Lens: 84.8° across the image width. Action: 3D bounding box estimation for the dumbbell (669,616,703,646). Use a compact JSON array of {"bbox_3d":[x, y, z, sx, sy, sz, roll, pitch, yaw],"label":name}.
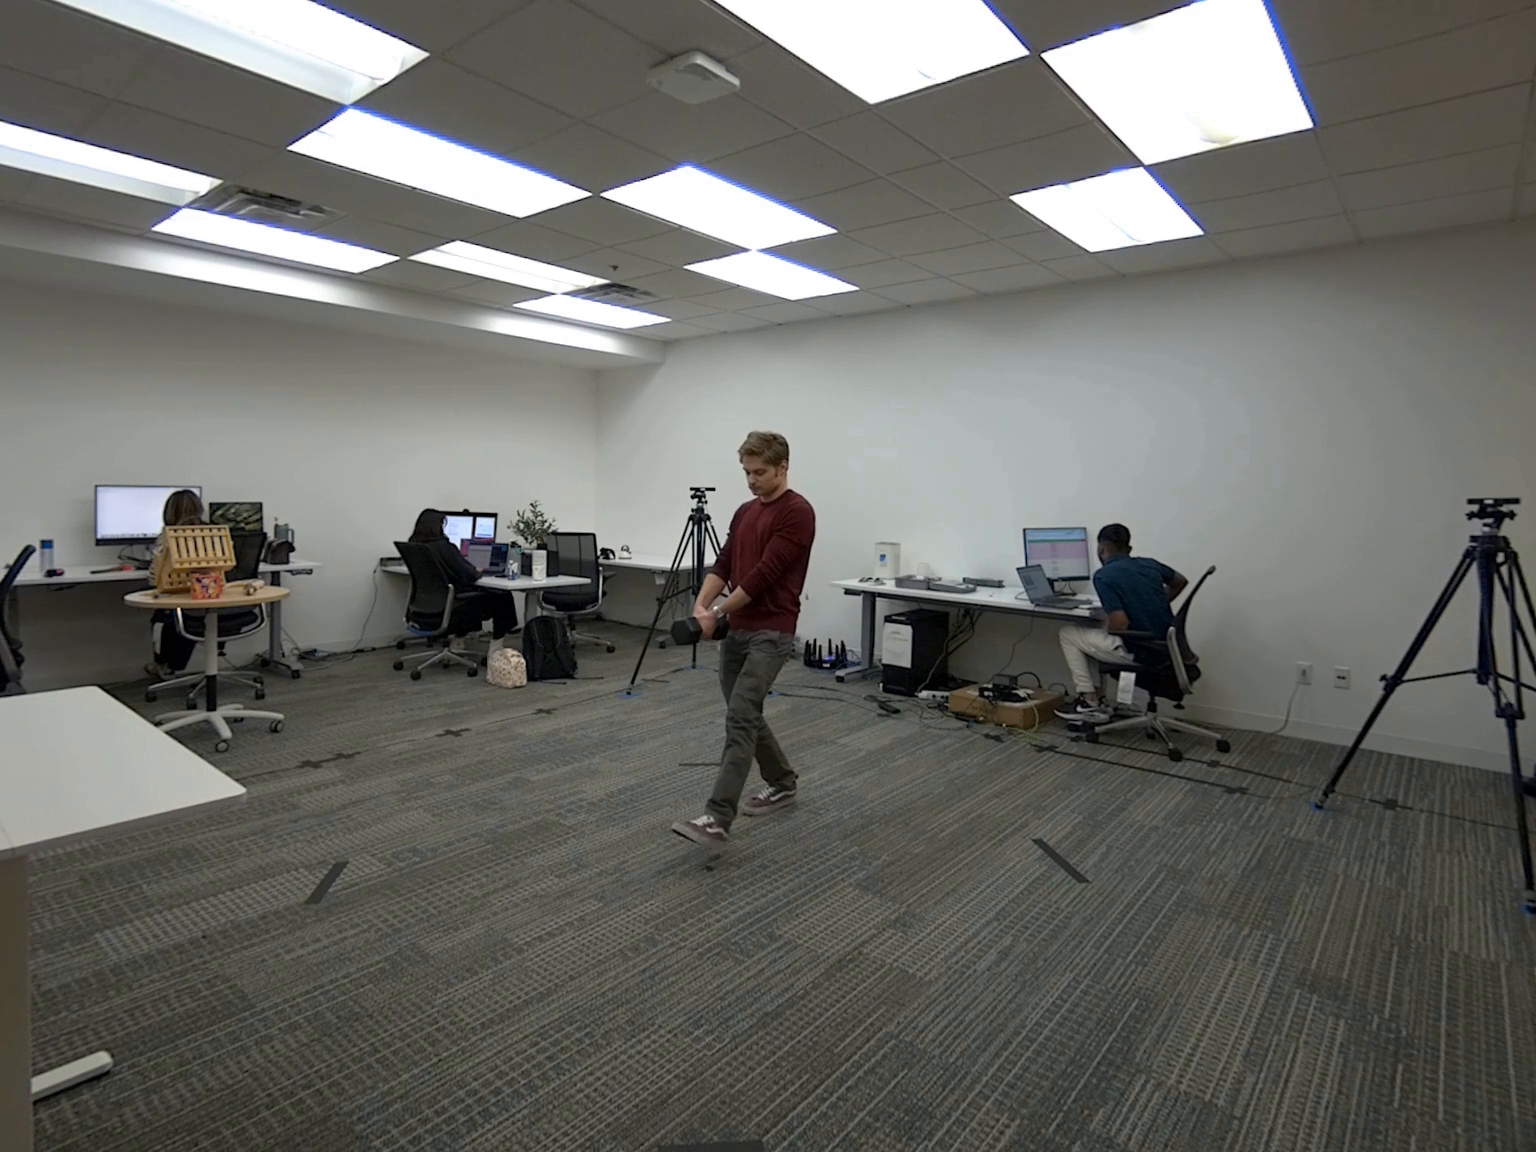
[{"bbox_3d":[-0.288,0.212,3.451,0.109,0.126,0.285,-41,-20,25],"label":"dumbbell"}]
